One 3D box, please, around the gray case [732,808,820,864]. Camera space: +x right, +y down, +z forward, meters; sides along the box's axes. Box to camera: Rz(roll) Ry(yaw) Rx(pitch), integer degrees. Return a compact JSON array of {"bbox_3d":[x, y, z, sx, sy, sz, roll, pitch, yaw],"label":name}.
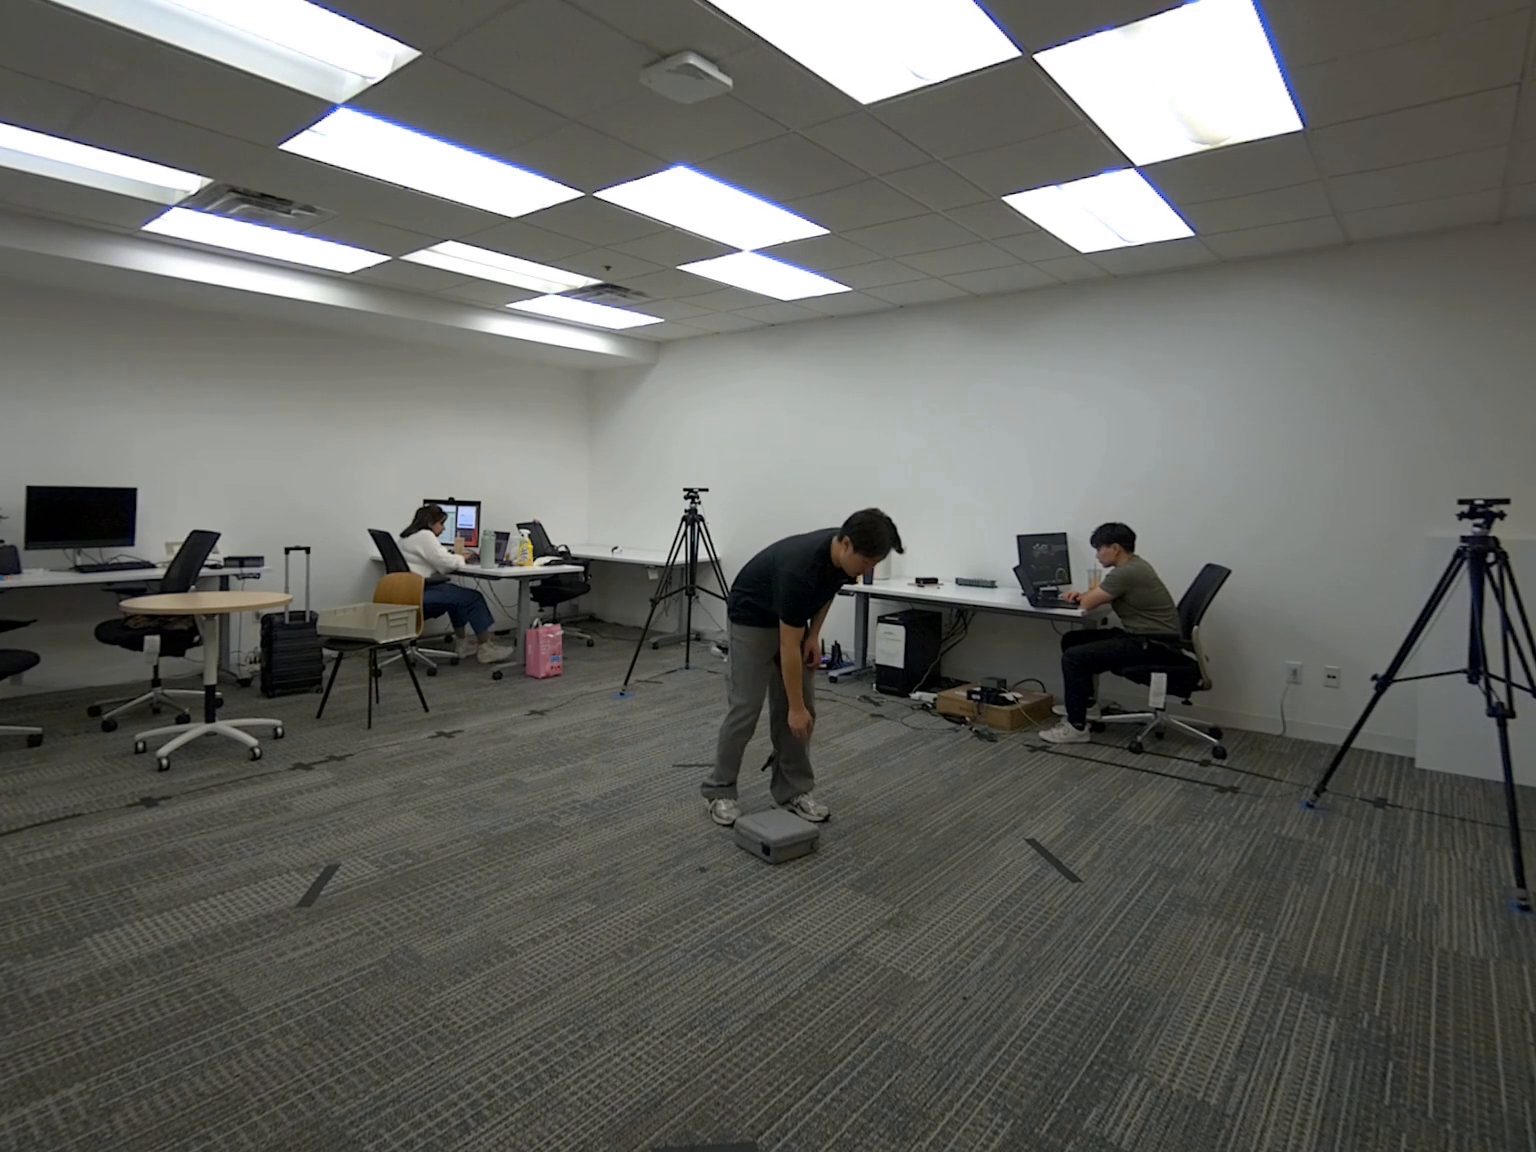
[{"bbox_3d":[0.043,1.005,3.320,0.278,0.102,0.272,-3,8,-41],"label":"gray case"}]
